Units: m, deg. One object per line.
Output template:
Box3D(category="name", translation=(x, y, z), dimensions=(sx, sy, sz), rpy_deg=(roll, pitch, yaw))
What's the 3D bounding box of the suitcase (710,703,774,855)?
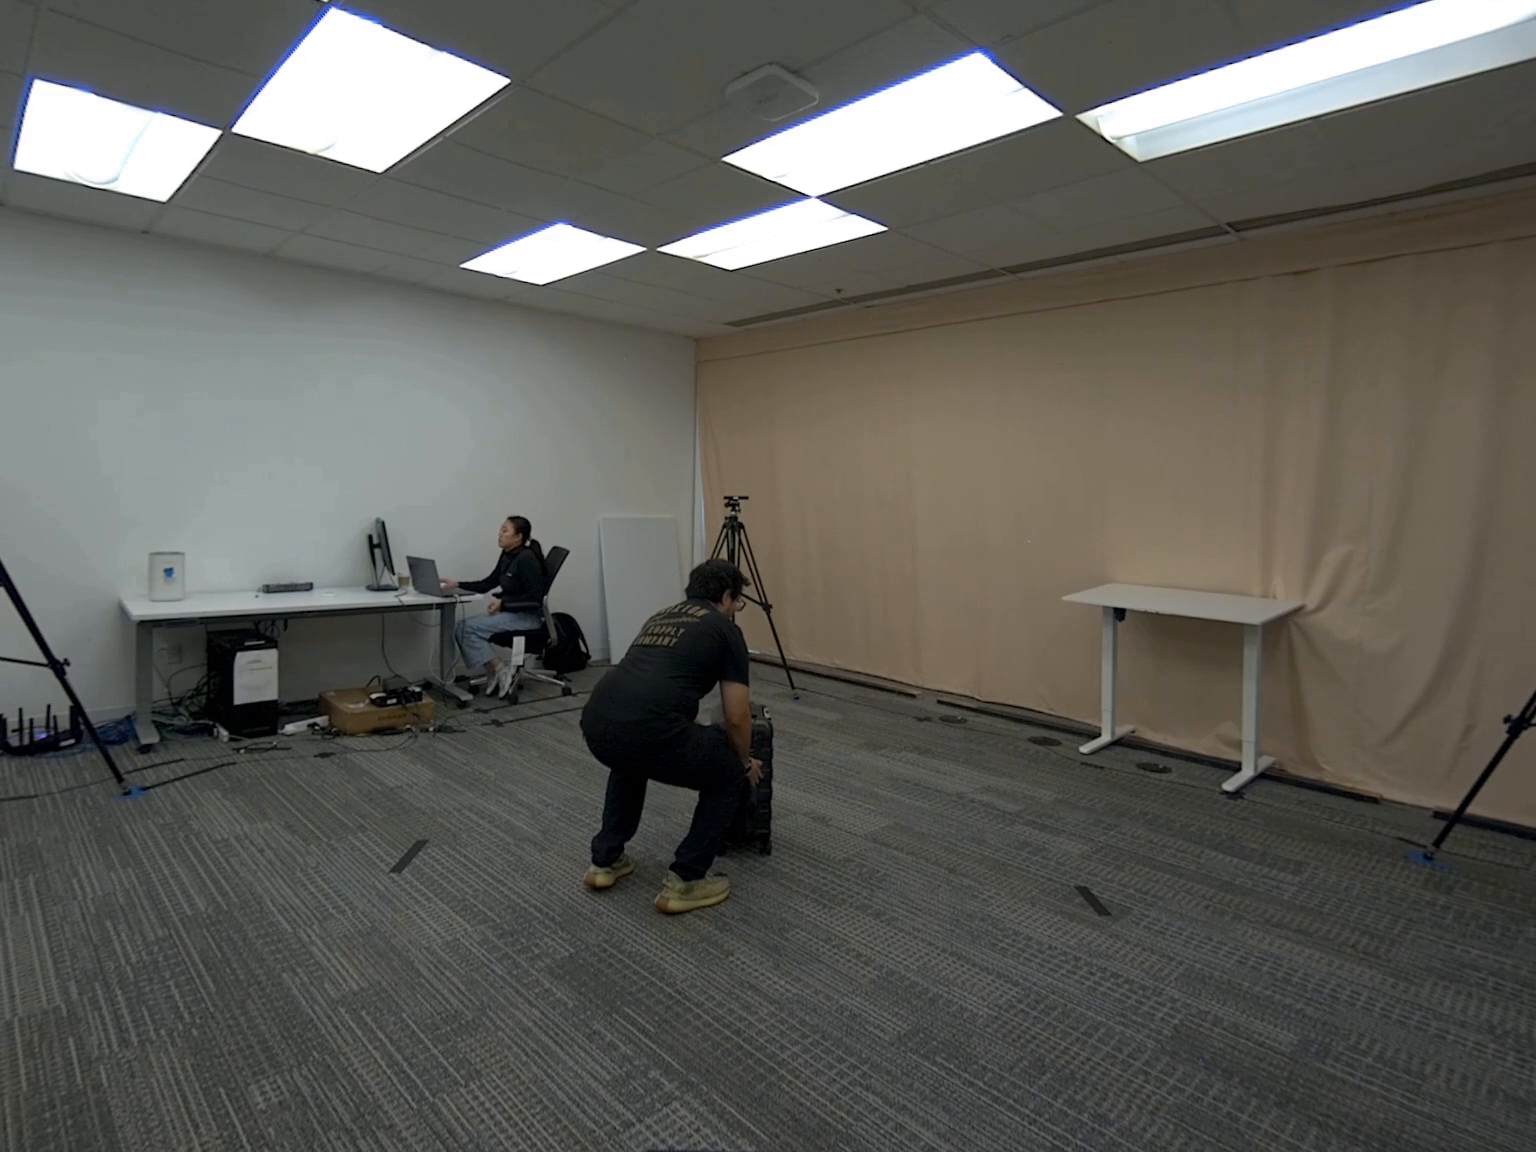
Box3D(category="suitcase", translation=(-0.110, 0.804, 3.411), dimensions=(0.248, 0.548, 0.377), rpy_deg=(2, 3, -3))
